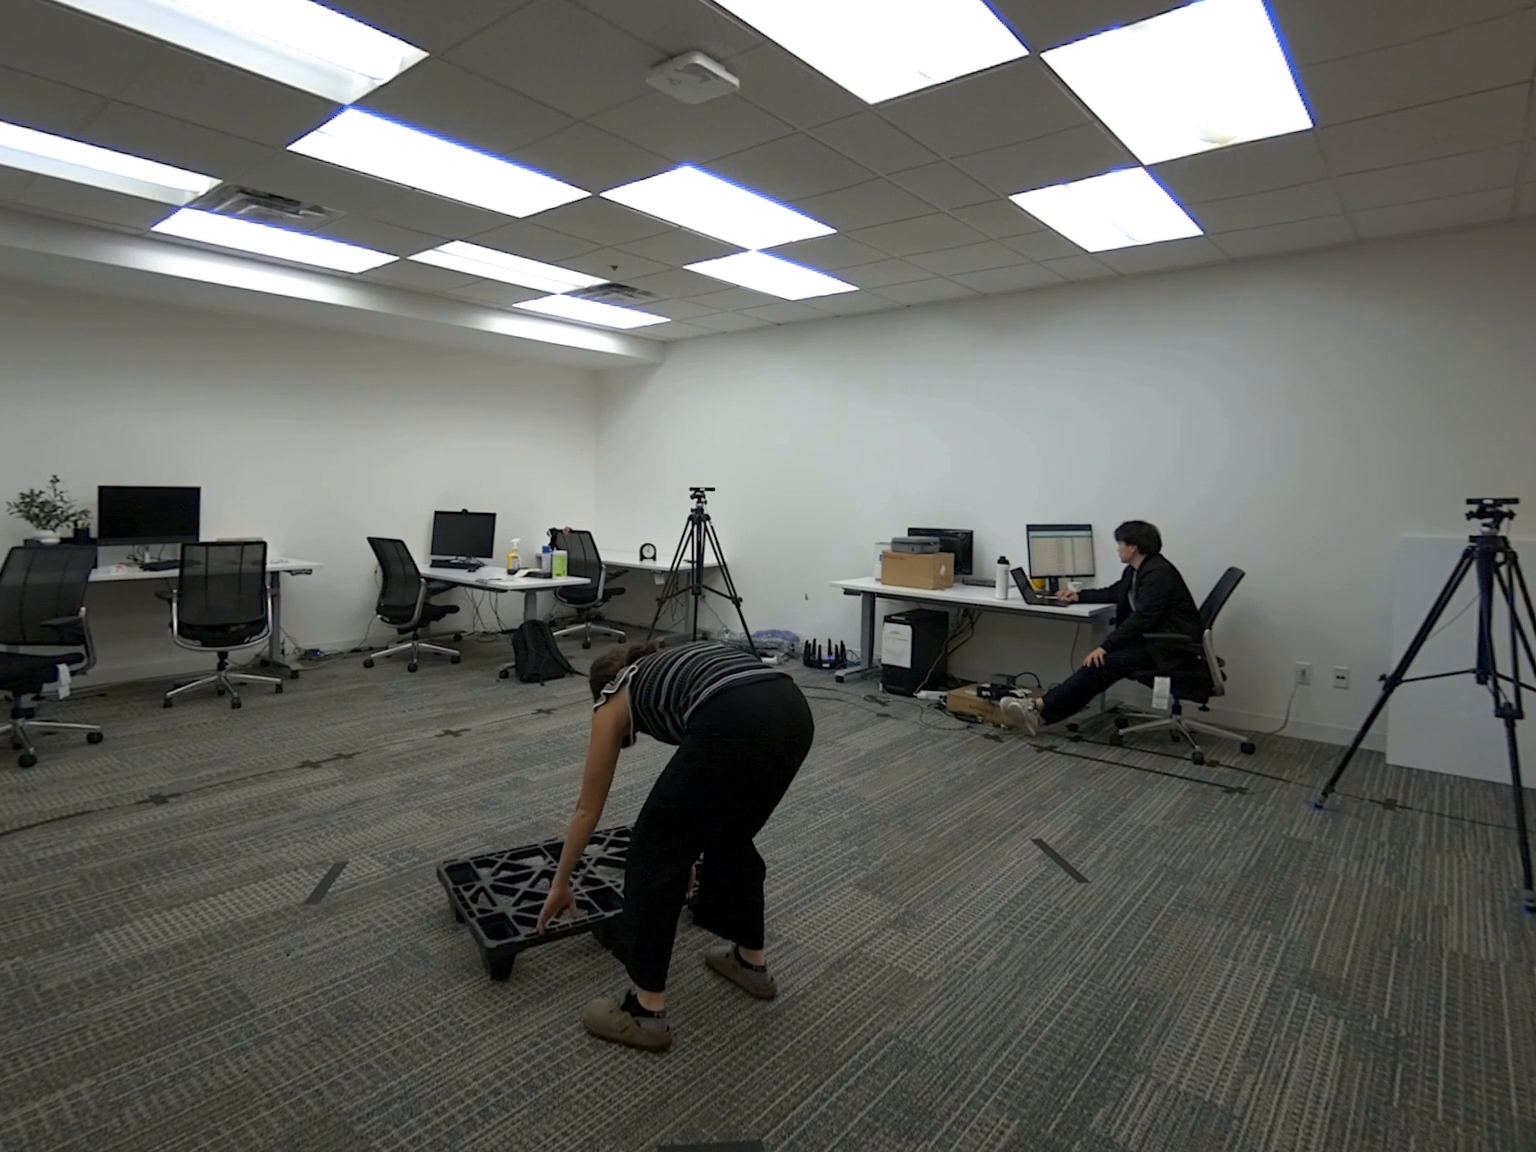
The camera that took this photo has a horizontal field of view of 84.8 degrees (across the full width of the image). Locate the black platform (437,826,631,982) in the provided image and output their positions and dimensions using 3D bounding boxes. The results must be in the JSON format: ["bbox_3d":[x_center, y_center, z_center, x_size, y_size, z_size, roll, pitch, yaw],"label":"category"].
[{"bbox_3d":[-0.615,1.026,2.767,0.783,0.143,0.624,-3,6,-33],"label":"black platform"}]
